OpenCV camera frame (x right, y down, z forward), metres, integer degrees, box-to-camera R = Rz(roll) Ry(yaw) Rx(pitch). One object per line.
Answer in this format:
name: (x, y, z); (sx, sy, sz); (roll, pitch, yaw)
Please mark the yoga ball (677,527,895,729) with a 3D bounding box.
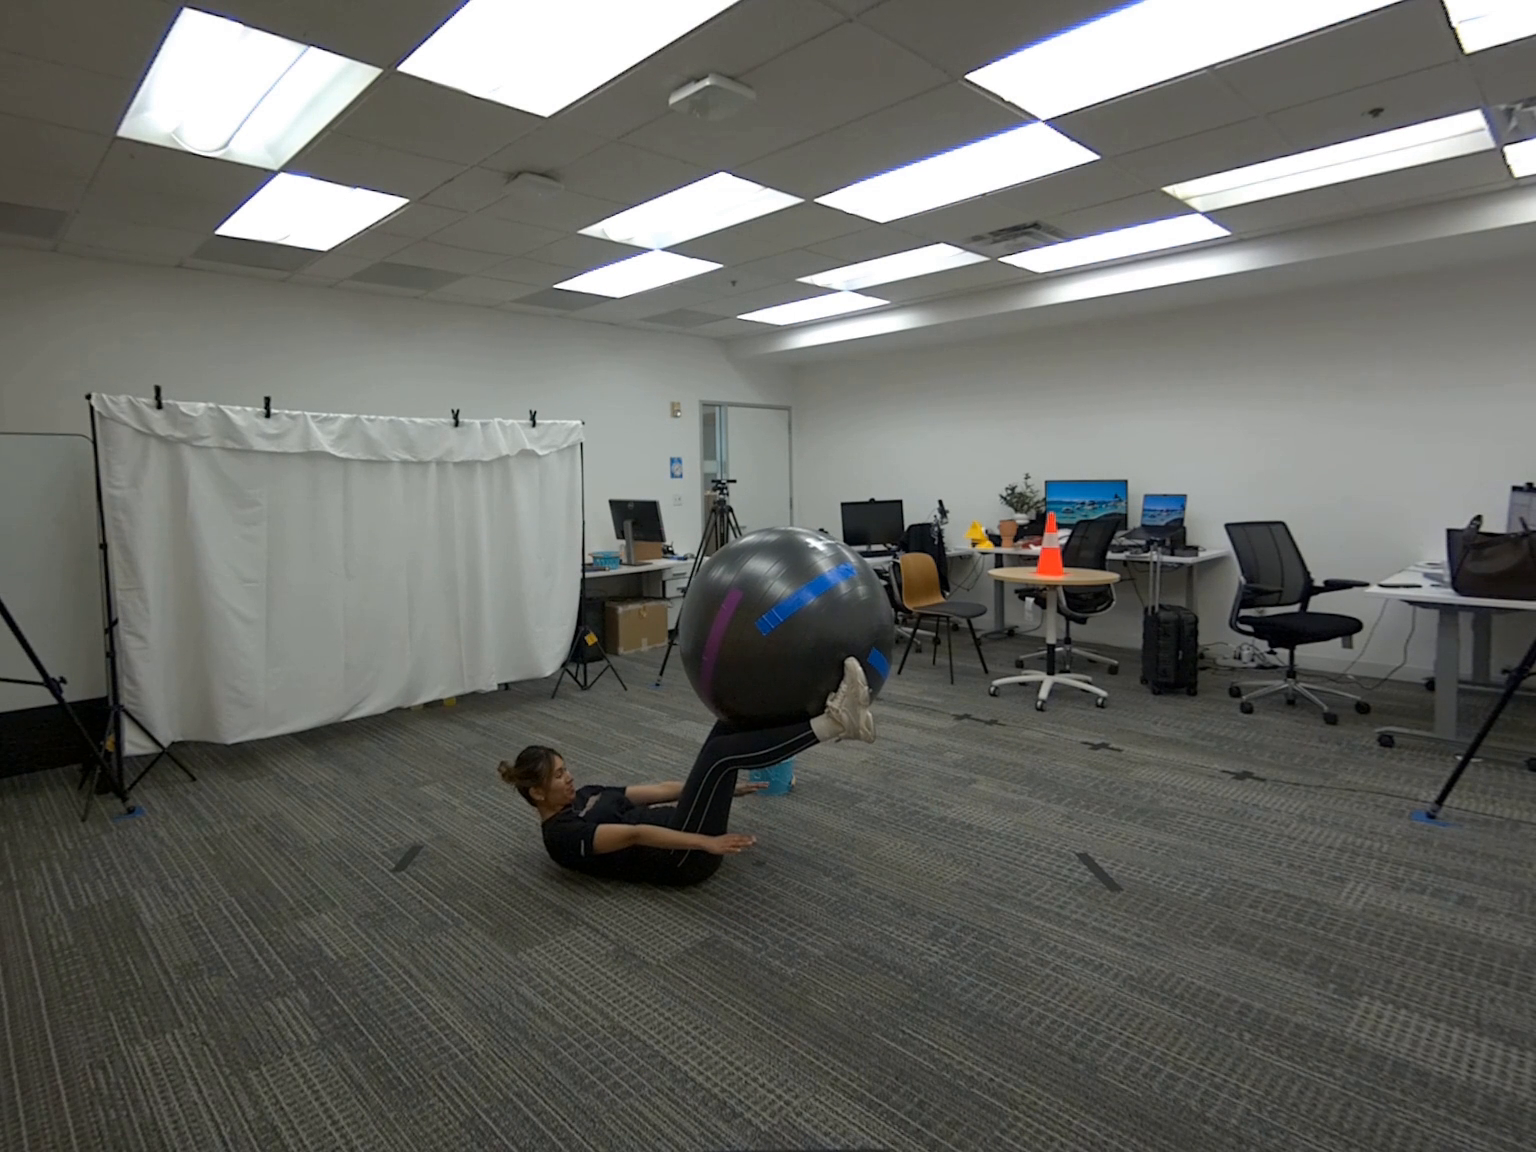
yoga ball: (0.056, 0.209, 3.003); (0.757, 0.755, 0.762); (-1, 5, -2)
